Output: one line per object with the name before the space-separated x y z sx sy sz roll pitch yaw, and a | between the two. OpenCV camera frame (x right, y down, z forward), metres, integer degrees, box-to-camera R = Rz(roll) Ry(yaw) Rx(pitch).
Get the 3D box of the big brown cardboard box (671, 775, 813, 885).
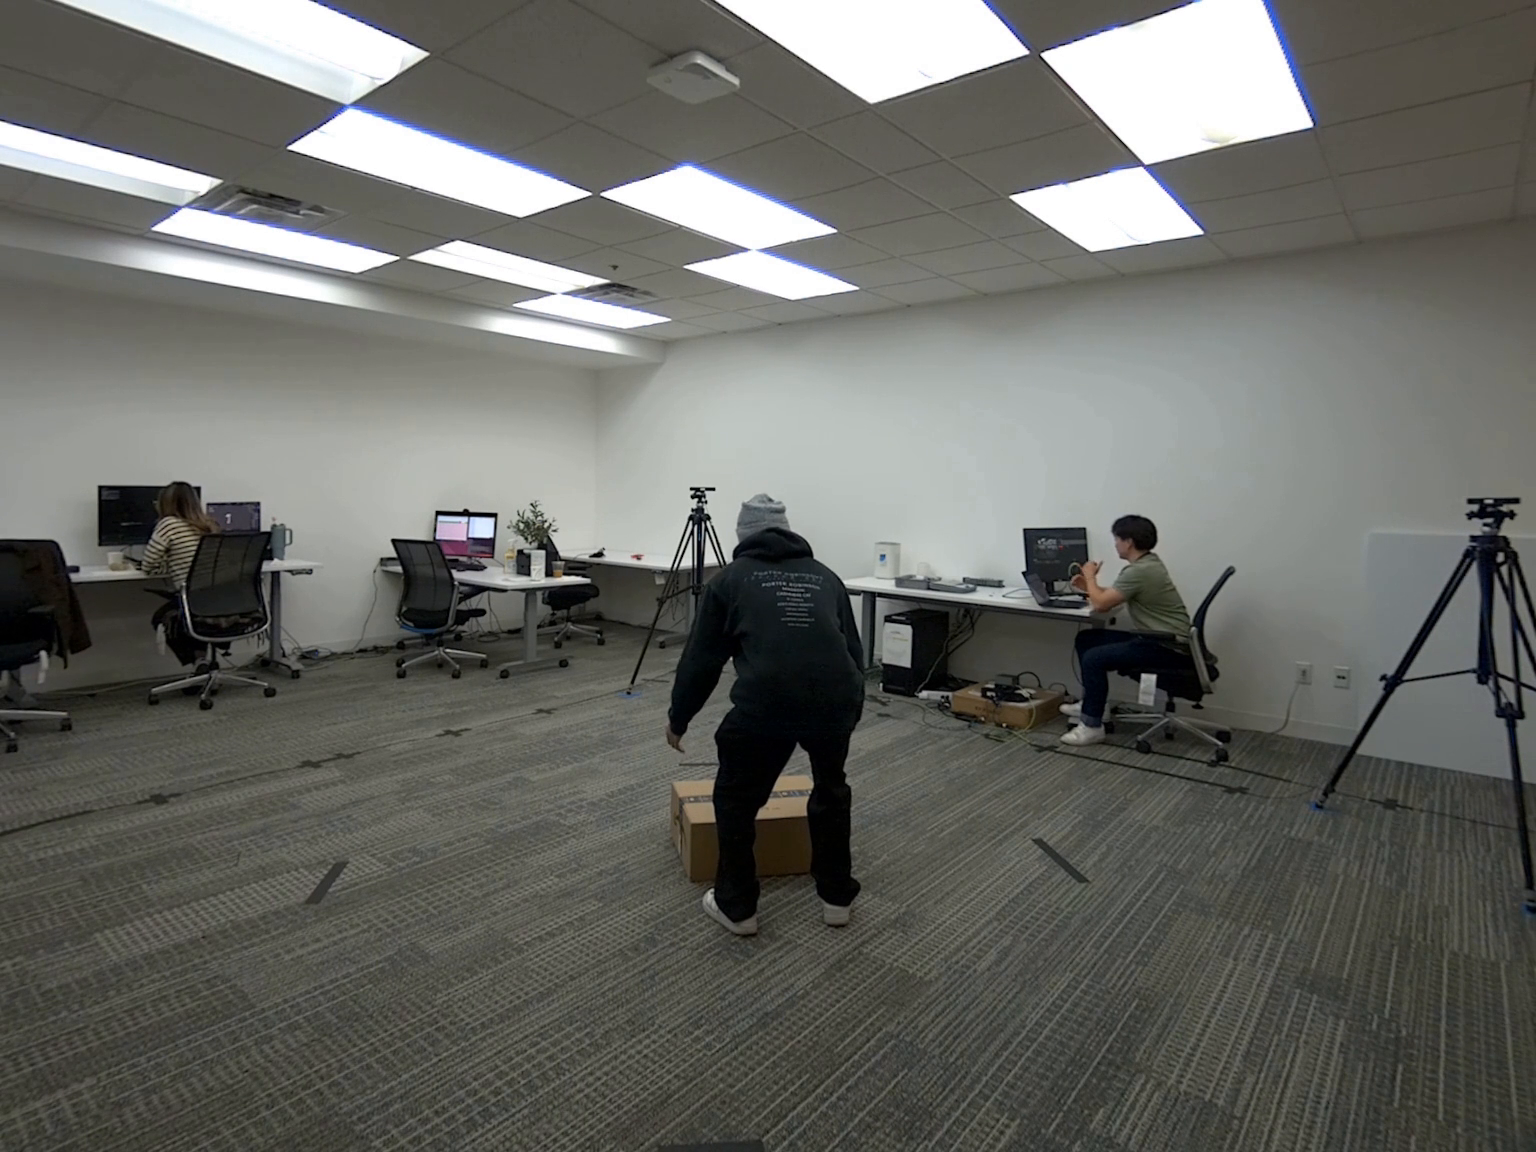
big brown cardboard box | -0.064 0.942 3.242 0.581 0.232 0.425 0 6 -13
